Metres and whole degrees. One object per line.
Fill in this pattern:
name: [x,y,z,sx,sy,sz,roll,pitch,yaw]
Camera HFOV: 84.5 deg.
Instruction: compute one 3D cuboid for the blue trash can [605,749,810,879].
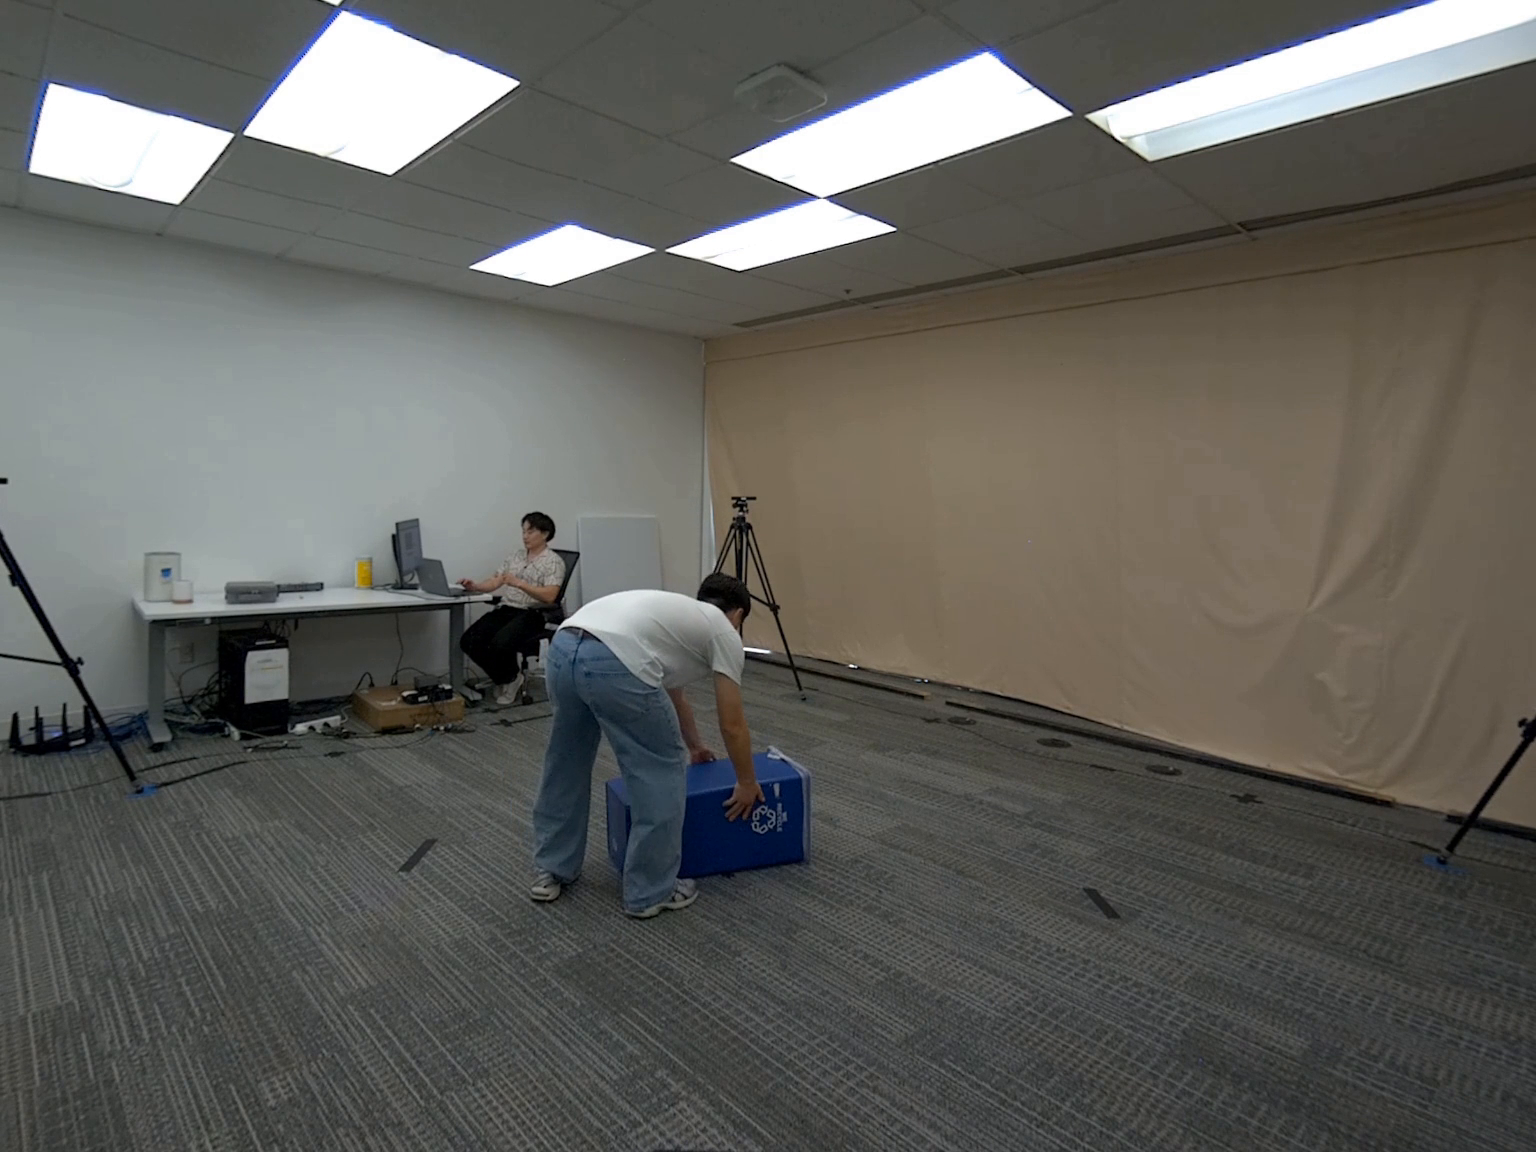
blue trash can: [-0.242,0.922,3.238,0.702,0.373,0.385,-4,6,-23]
